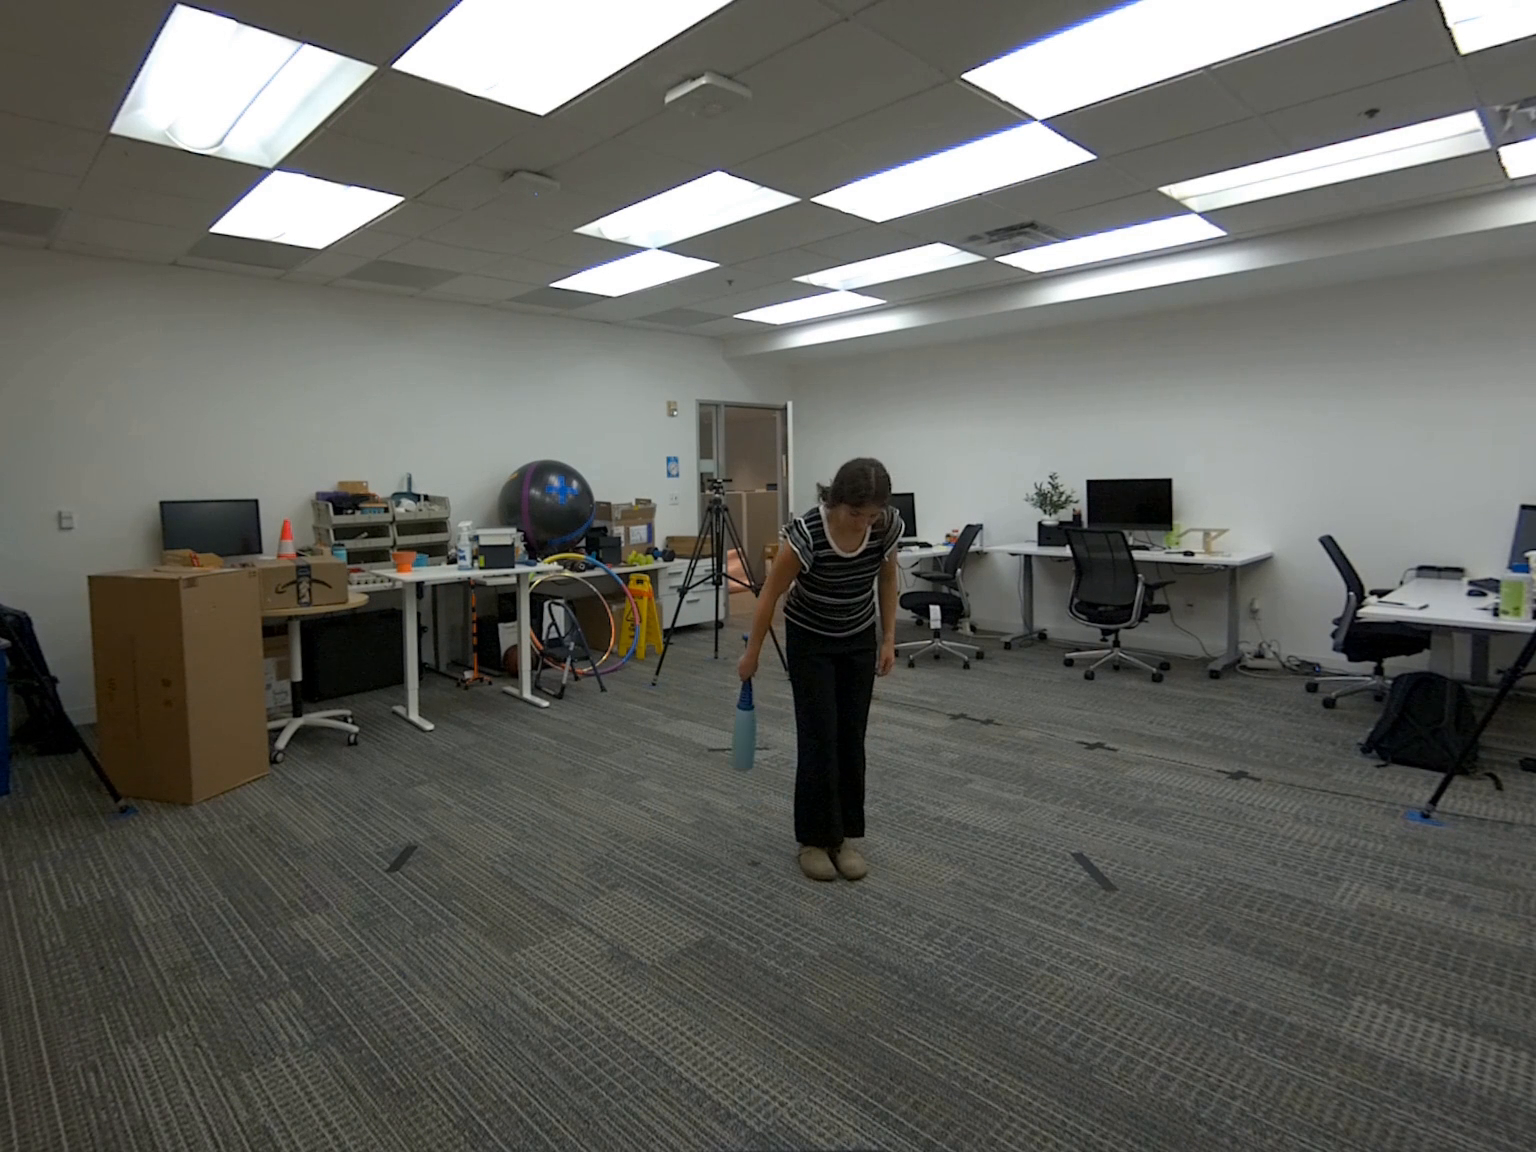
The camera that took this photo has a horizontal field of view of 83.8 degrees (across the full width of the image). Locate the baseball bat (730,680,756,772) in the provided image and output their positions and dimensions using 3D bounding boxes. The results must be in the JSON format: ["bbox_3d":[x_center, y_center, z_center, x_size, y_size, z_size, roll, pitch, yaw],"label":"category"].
[{"bbox_3d":[-0.068,0.482,3.176,0.089,0.536,0.090,2,14,-2],"label":"baseball bat"}]
